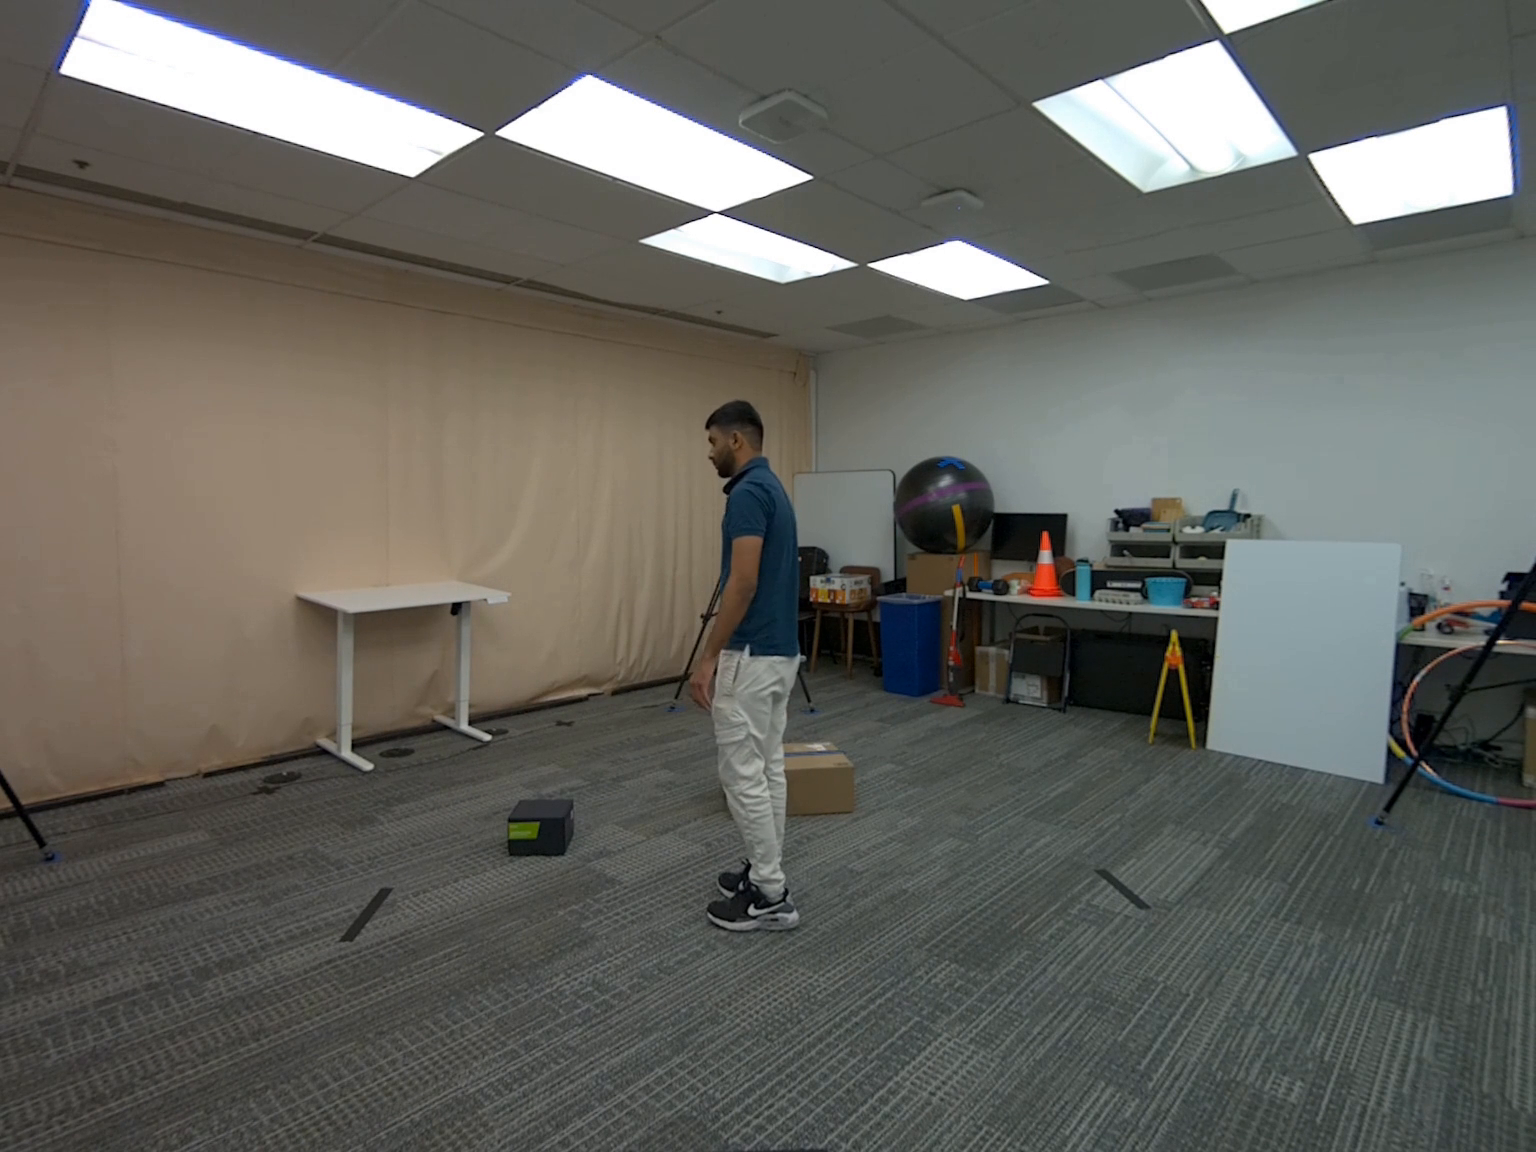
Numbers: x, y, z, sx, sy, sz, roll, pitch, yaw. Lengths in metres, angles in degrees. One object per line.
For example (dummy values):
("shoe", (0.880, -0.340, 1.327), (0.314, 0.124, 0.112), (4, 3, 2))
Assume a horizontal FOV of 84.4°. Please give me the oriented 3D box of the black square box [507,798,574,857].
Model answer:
("black square box", (-0.933, 1.024, 3.468), (0.228, 0.155, 0.218), (0, 5, -1))
